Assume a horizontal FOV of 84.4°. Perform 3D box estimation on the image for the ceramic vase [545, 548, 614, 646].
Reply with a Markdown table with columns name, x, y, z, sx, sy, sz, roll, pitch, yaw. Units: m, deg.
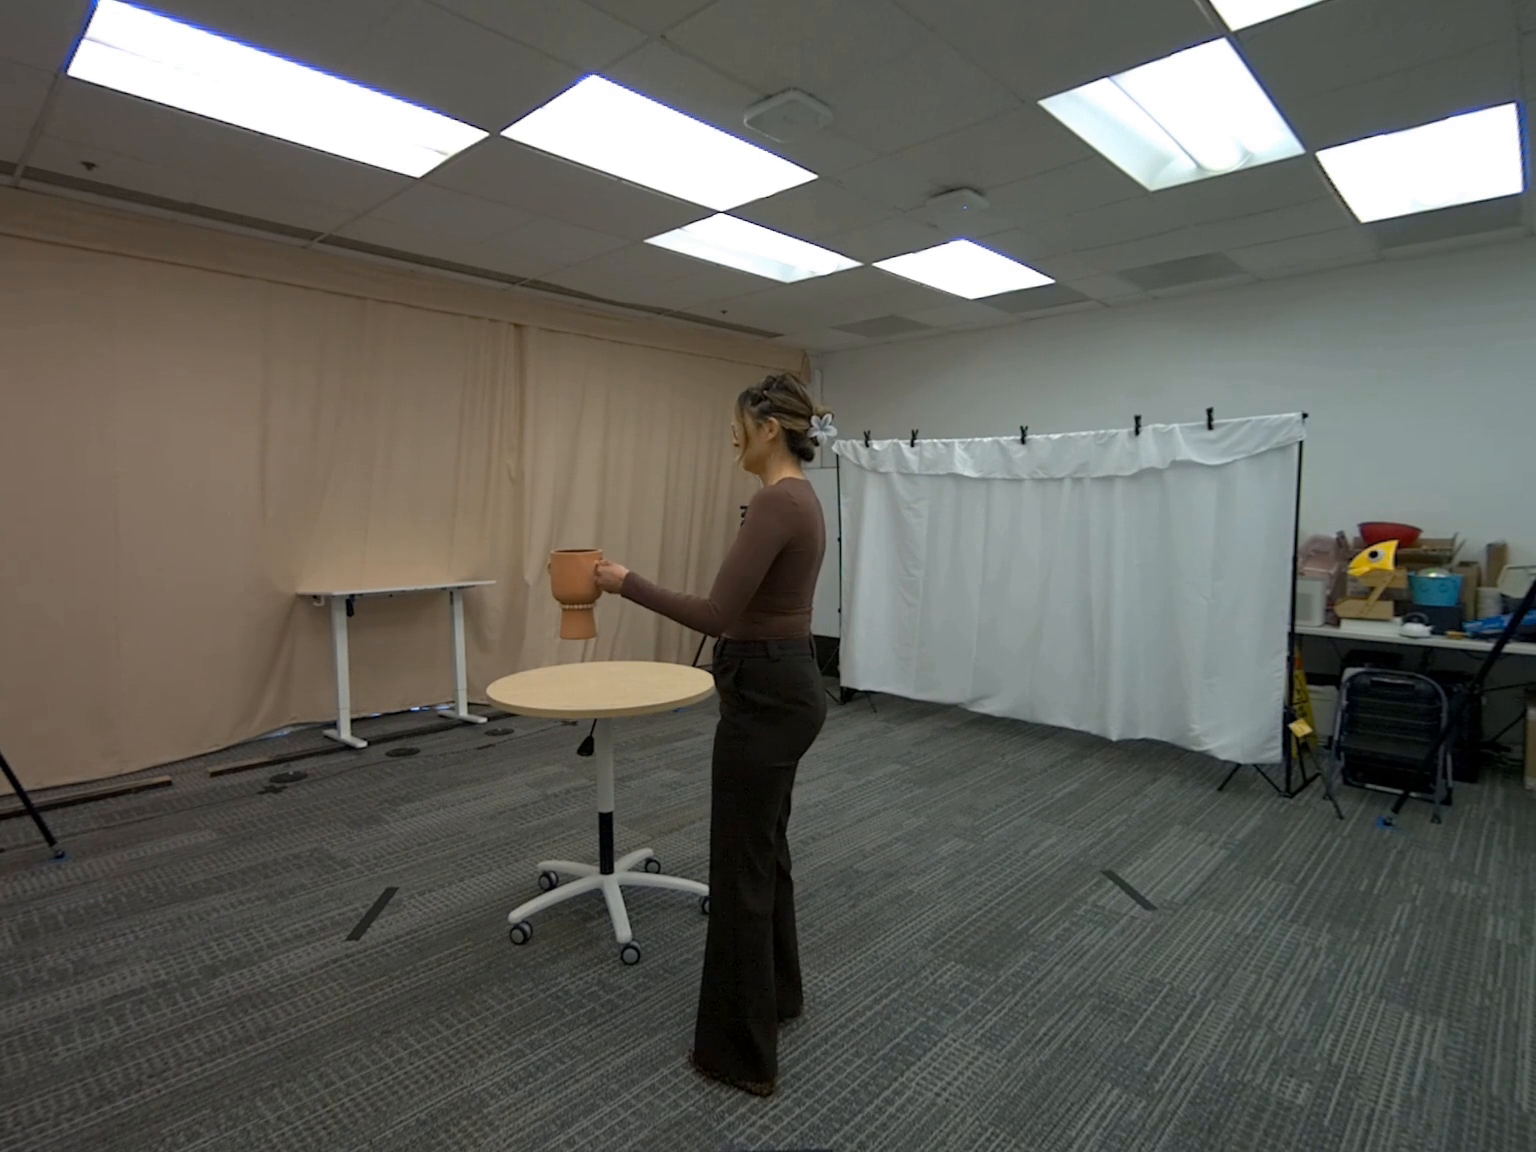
| name | x | y | z | sx | sy | sz | roll | pitch | yaw |
| --- | --- | --- | --- | --- | --- | --- | --- | --- | --- |
| ceramic vase | -0.476 | 0.046 | 2.127 | 0.132 | 0.219 | 0.162 | -3 | 4 | -22 |
